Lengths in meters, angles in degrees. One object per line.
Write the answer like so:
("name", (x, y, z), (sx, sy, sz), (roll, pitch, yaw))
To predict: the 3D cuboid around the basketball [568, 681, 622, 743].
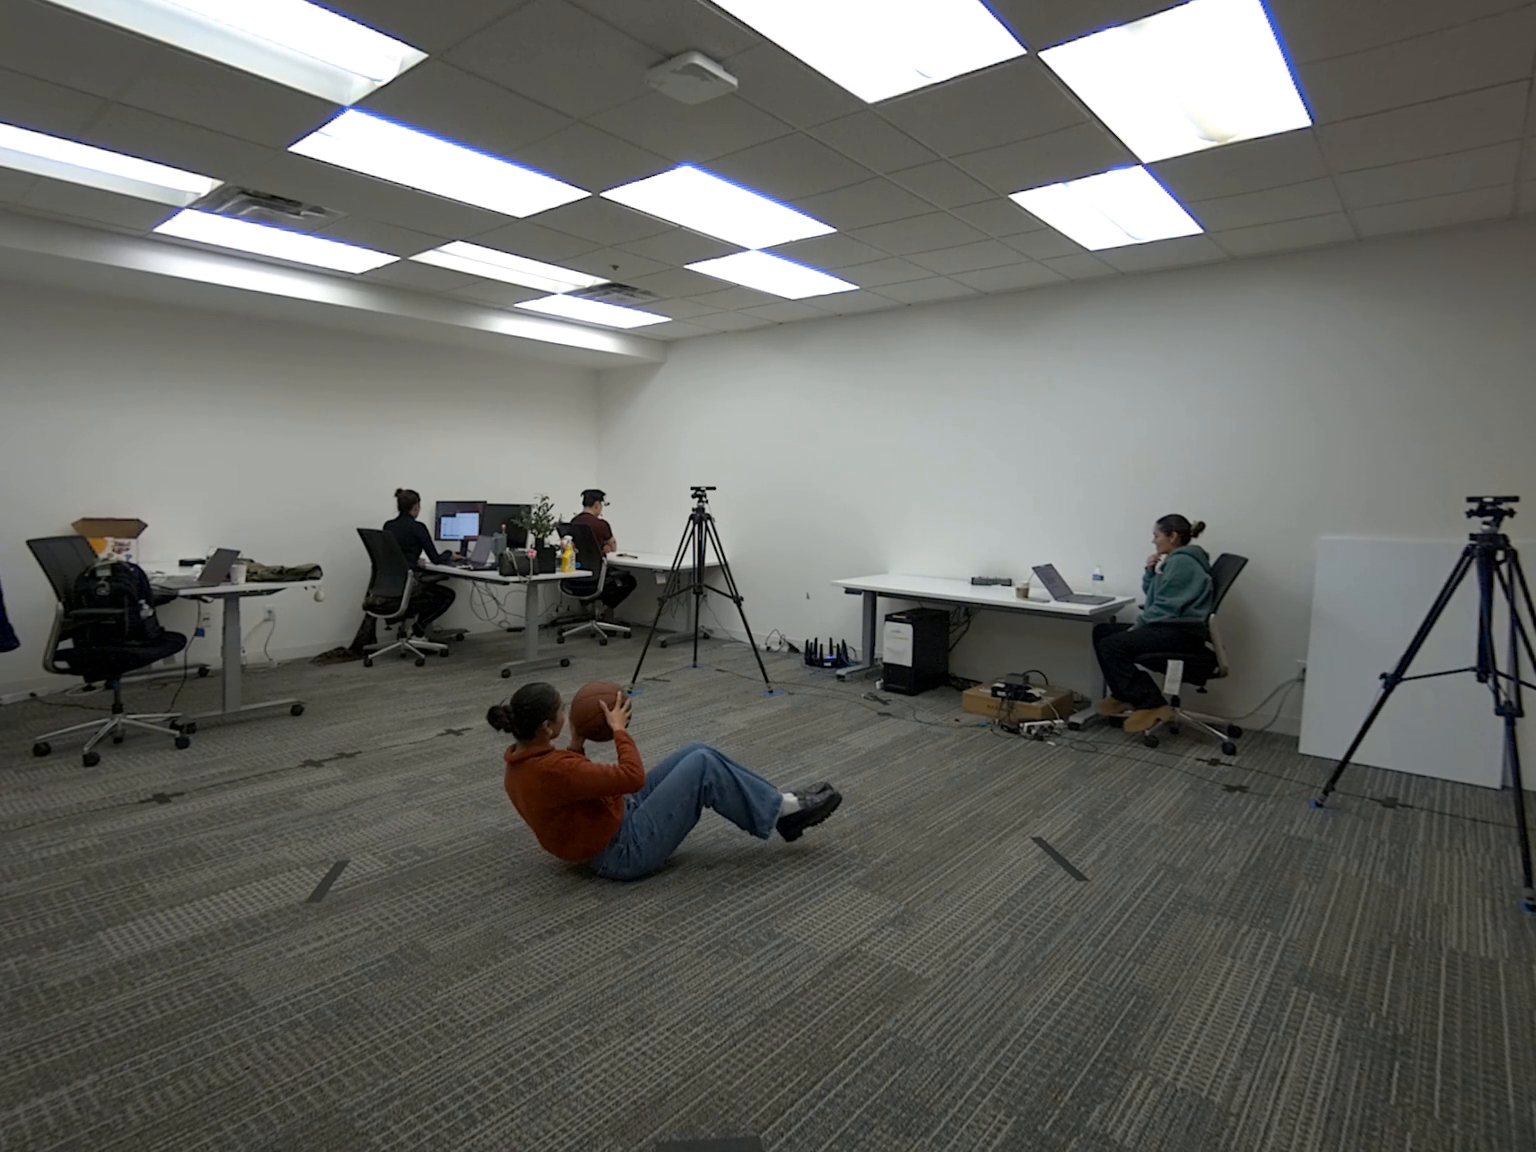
("basketball", (-0.654, 0.540, 3.289), (0.235, 0.235, 0.237), (1, 4, -2))
